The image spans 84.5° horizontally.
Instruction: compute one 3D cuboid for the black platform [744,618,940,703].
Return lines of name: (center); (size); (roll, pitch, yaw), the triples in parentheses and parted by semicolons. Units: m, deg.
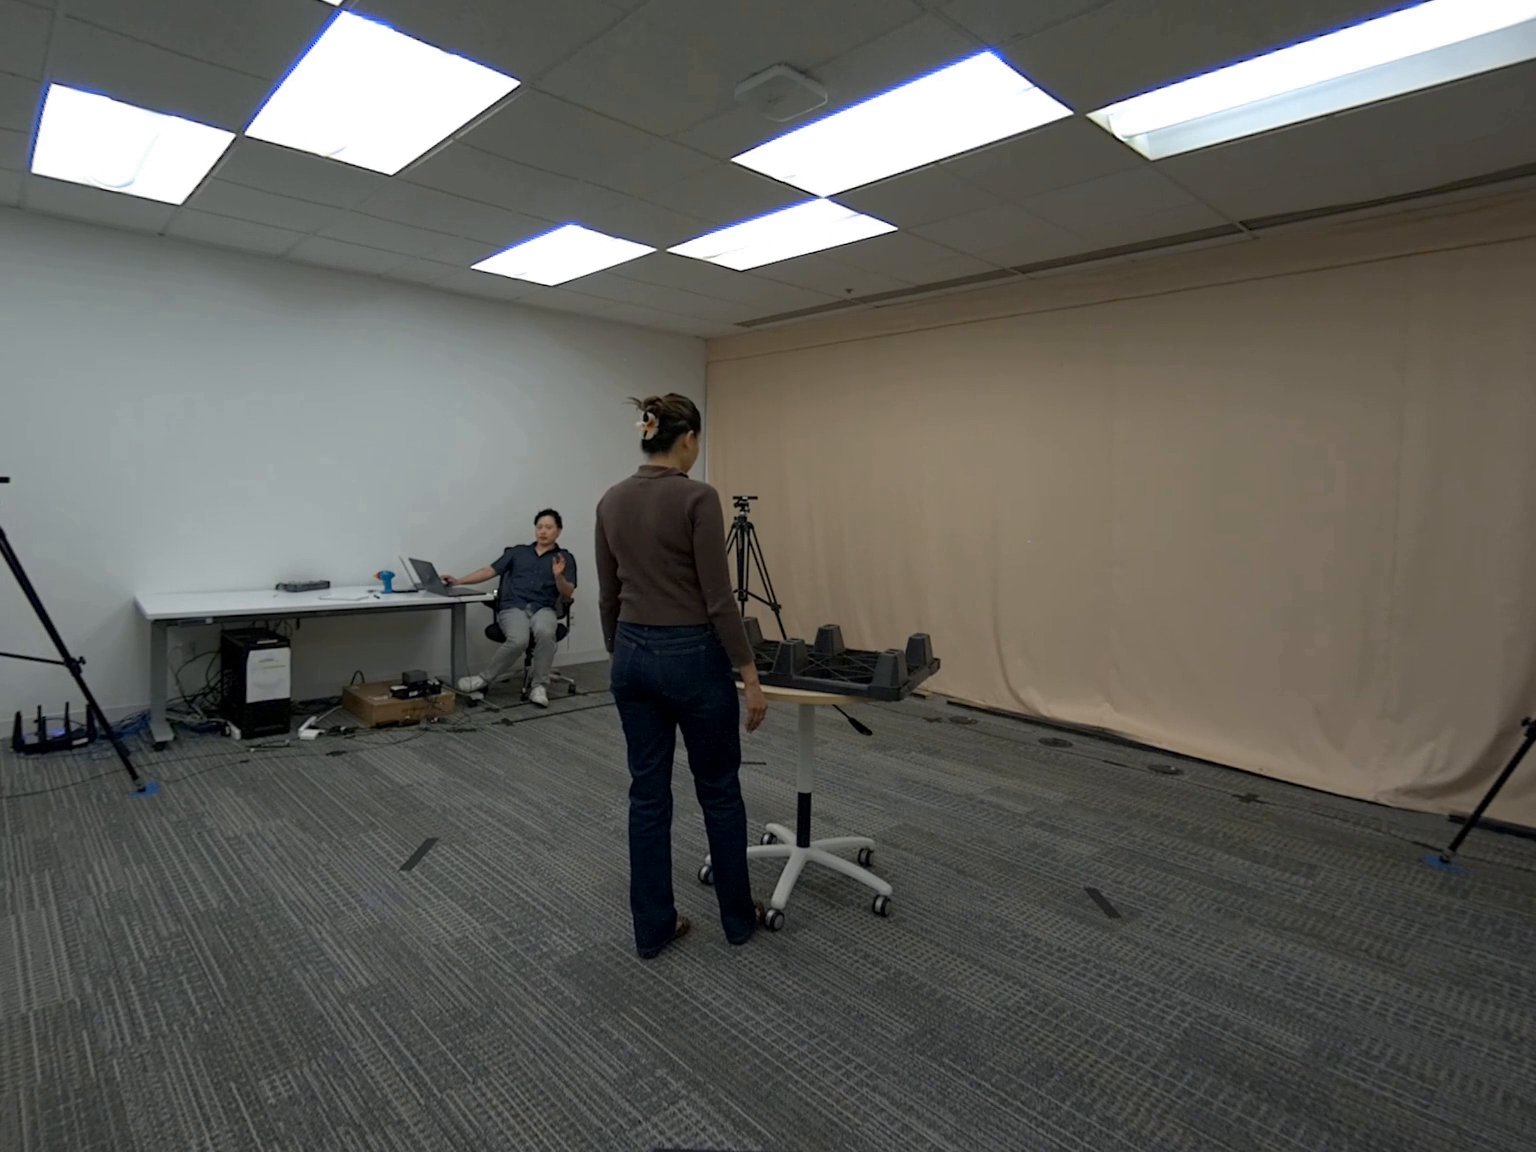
black platform: (0.143, 0.273, 2.988); (0.821, 0.143, 0.596); (3, 6, 24)
